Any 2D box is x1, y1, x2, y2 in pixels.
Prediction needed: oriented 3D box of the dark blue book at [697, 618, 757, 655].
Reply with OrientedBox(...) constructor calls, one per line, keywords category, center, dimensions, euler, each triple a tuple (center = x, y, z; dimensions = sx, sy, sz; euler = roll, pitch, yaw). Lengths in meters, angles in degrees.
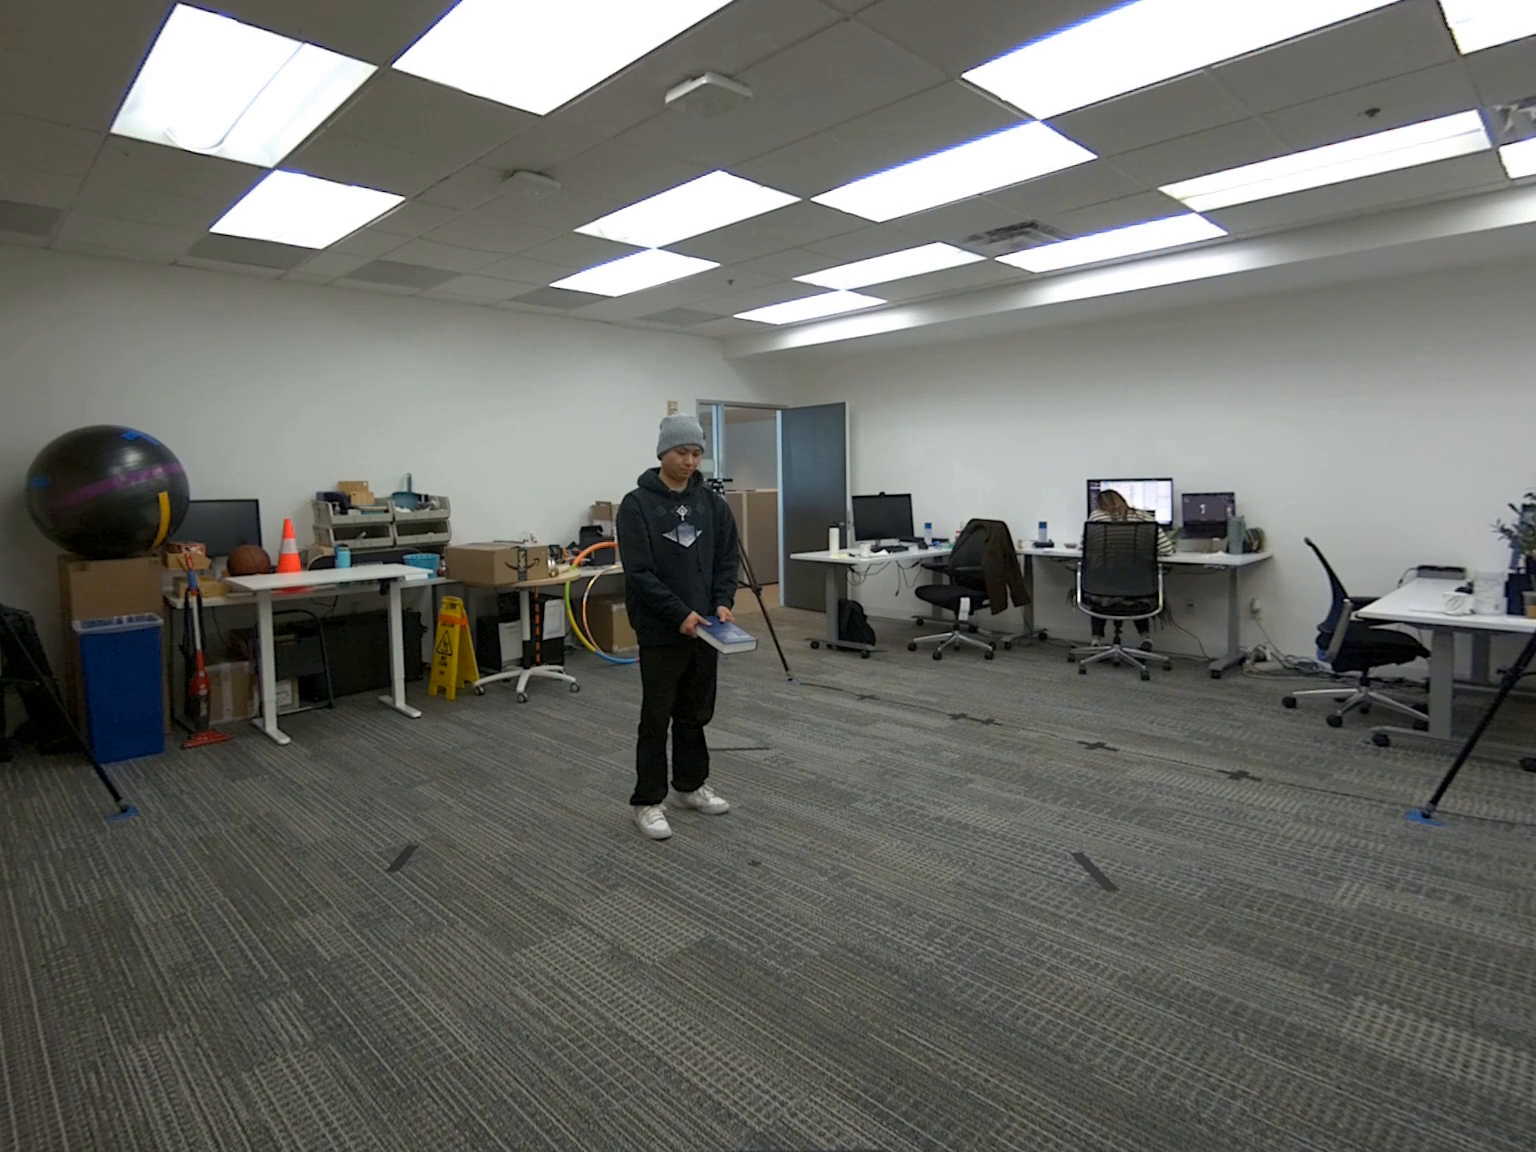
OrientedBox(category="dark blue book", center=(-0.170, 0.230, 3.280), dimensions=(0.159, 0.045, 0.254), euler=(-3, 18, -36))
